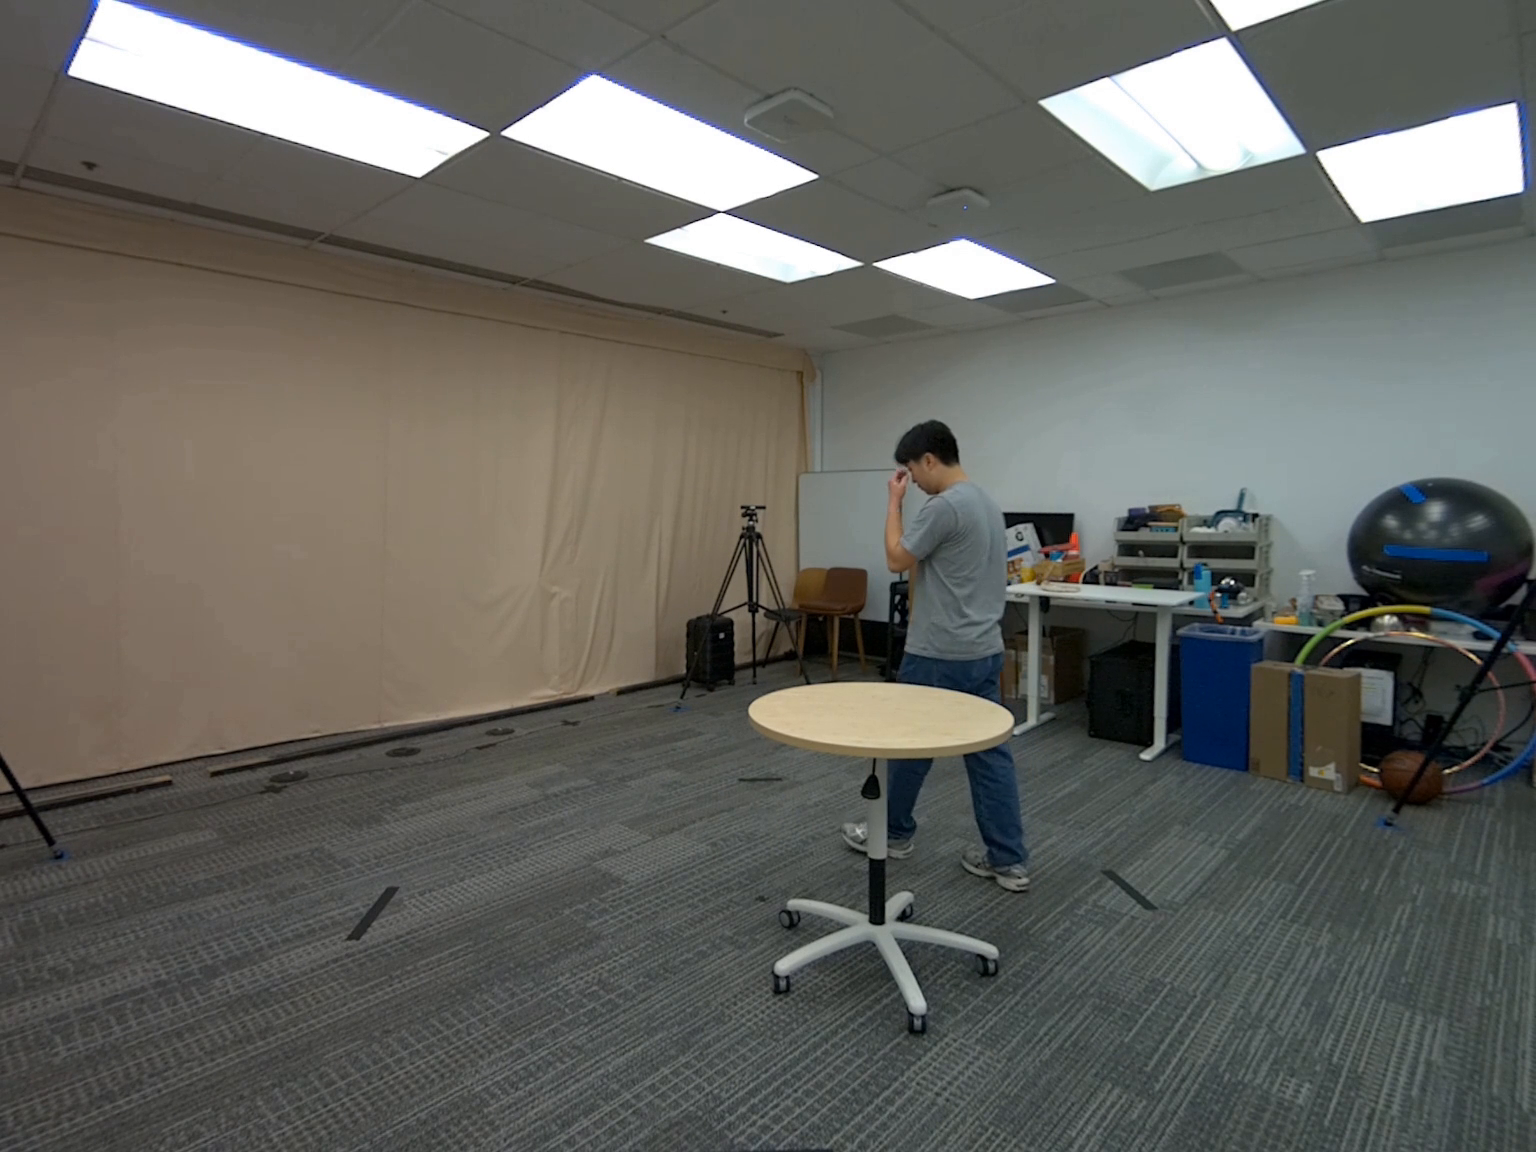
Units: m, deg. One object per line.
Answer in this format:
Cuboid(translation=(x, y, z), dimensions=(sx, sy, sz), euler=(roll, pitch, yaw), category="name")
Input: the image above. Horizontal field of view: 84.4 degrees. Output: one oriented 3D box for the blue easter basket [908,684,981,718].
Cuboid(translation=(0.725, 0.441, 3.477), dimensions=(0.243, 0.156, 0.244), euler=(-22, 1, -2), category="blue easter basket")
